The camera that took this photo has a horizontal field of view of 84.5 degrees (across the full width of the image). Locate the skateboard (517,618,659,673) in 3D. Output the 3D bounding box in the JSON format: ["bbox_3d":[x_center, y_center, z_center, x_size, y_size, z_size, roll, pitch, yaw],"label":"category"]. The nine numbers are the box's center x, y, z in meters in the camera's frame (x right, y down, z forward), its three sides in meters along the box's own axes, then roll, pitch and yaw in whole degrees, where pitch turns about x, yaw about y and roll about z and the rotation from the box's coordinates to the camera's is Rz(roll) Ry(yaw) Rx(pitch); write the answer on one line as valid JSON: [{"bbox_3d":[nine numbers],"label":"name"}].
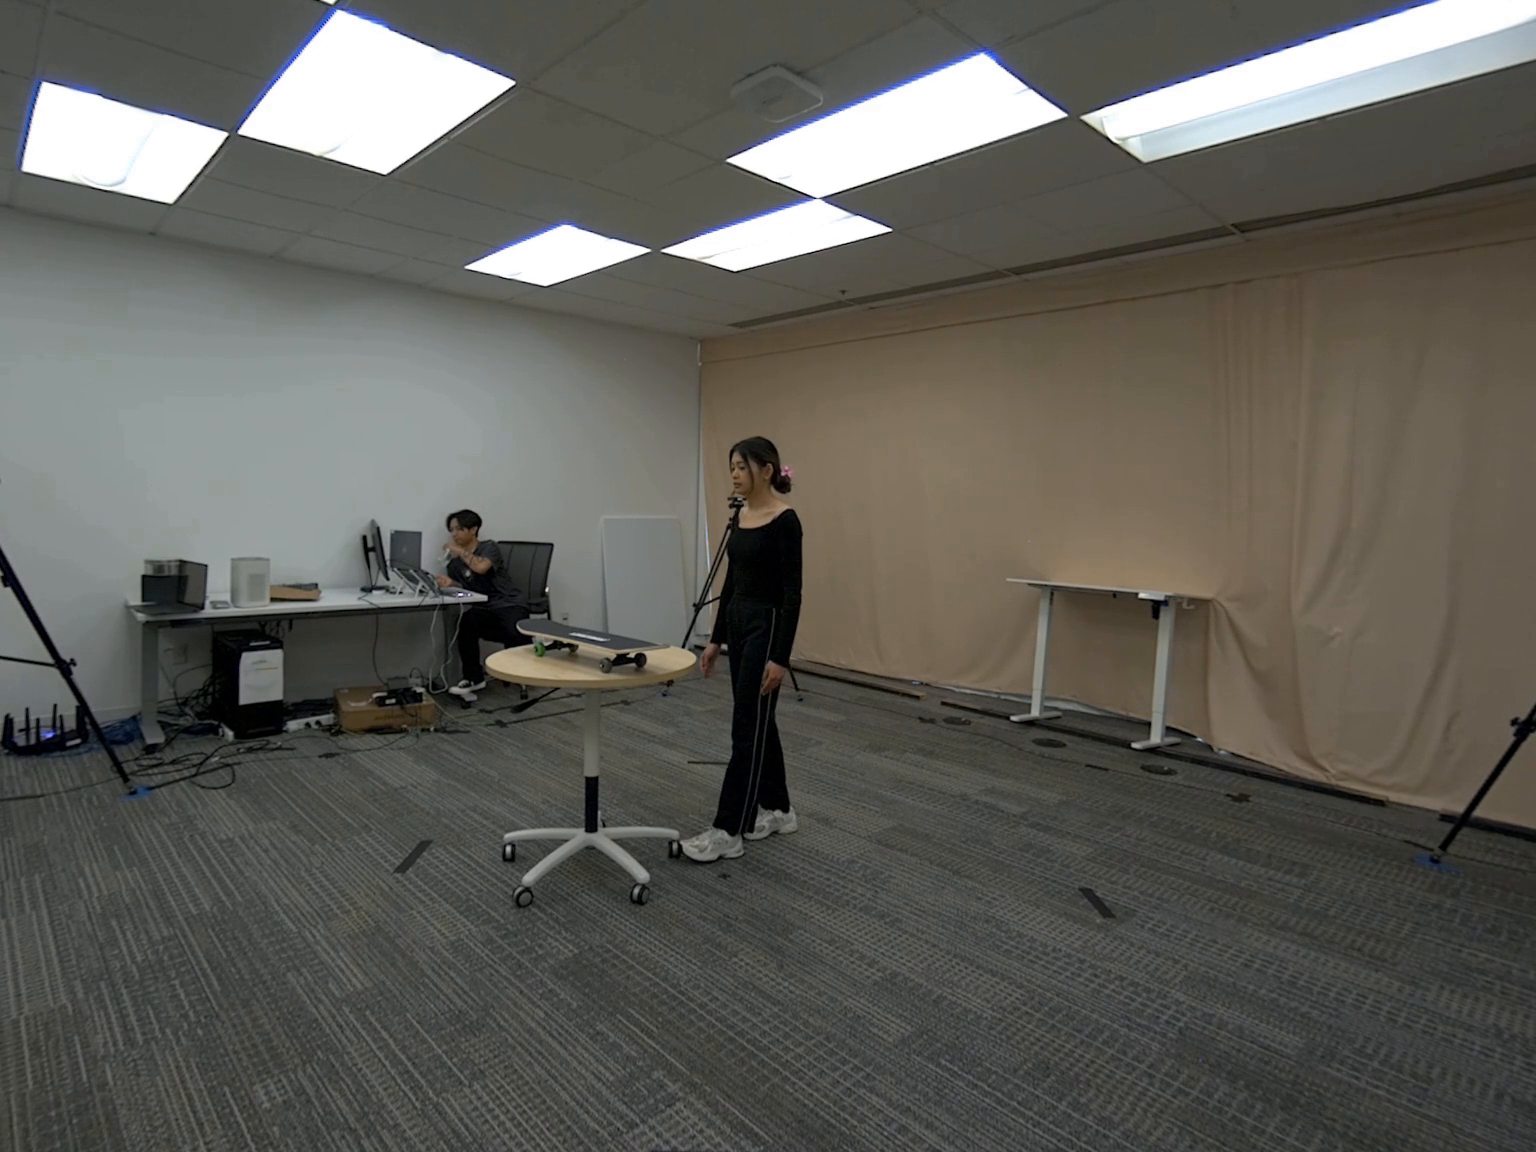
[{"bbox_3d":[-0.662,0.262,3.036,0.806,0.110,0.189,6,8,42],"label":"skateboard"}]
